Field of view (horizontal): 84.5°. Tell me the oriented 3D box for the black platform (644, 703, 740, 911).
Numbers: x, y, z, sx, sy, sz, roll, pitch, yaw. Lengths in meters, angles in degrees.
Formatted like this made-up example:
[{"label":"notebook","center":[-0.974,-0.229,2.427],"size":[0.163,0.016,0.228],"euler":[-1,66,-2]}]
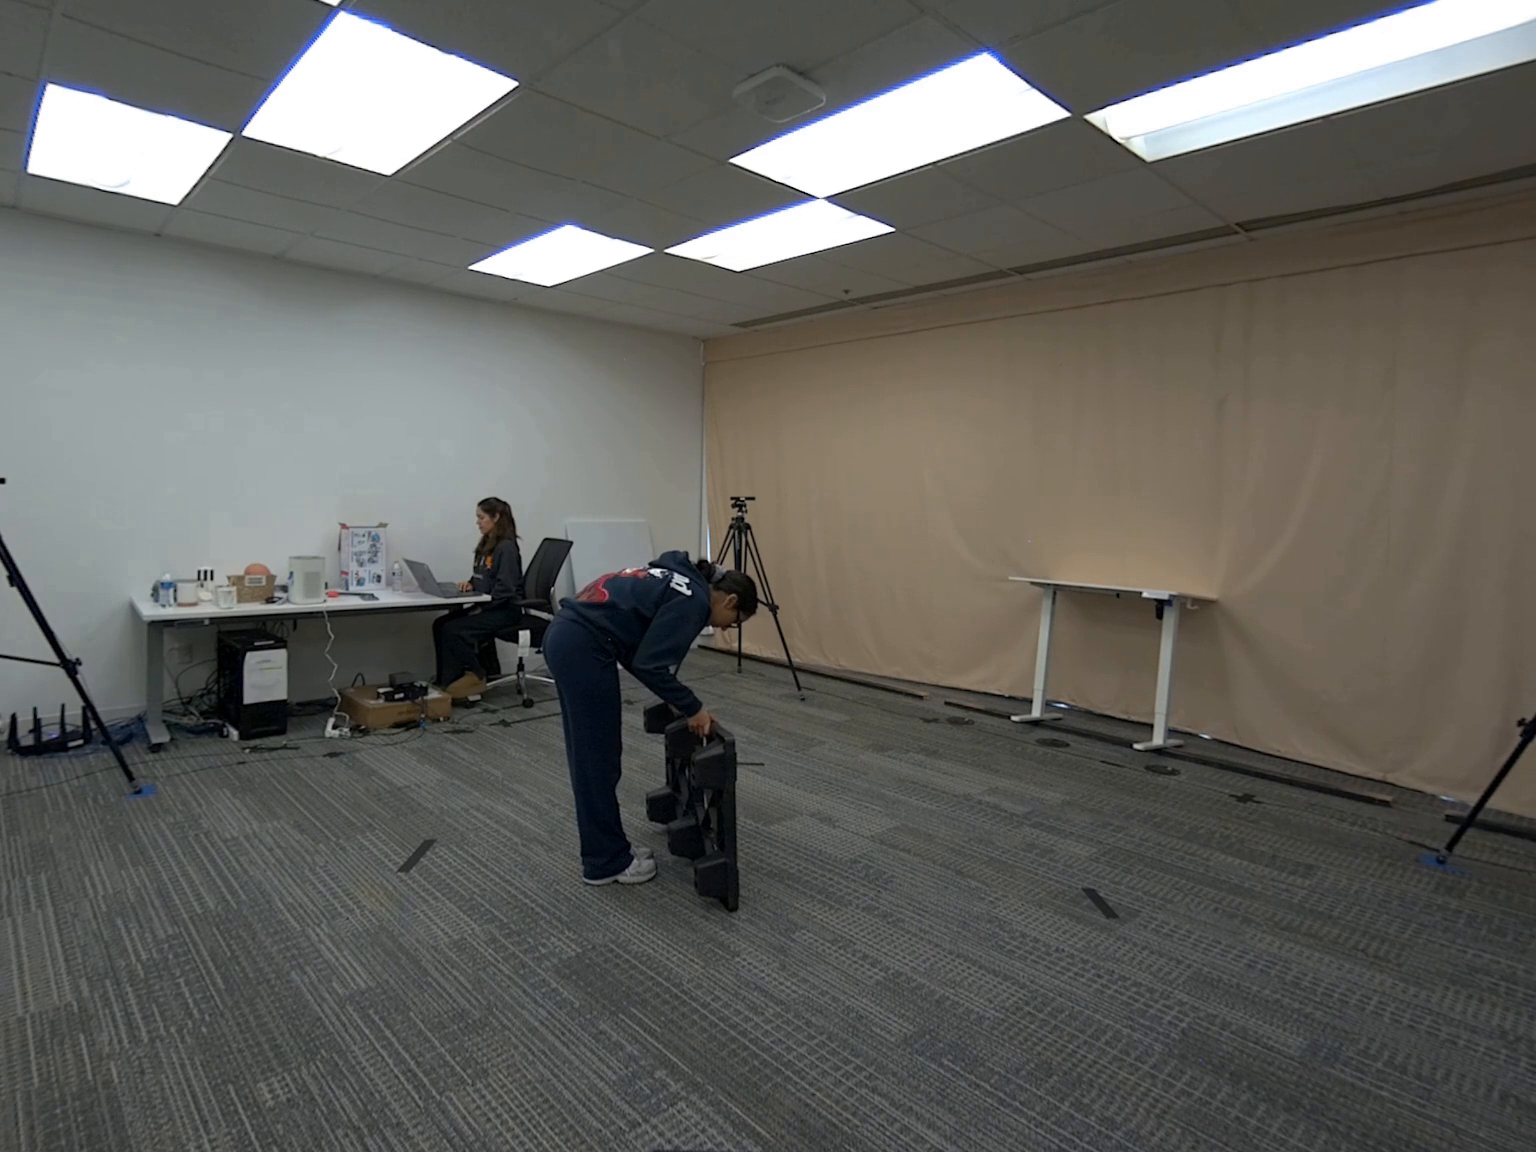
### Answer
[{"label":"black platform","center":[-0.317,0.801,3.167],"size":[0.141,0.603,0.820],"euler":[-3,5,-21]}]
